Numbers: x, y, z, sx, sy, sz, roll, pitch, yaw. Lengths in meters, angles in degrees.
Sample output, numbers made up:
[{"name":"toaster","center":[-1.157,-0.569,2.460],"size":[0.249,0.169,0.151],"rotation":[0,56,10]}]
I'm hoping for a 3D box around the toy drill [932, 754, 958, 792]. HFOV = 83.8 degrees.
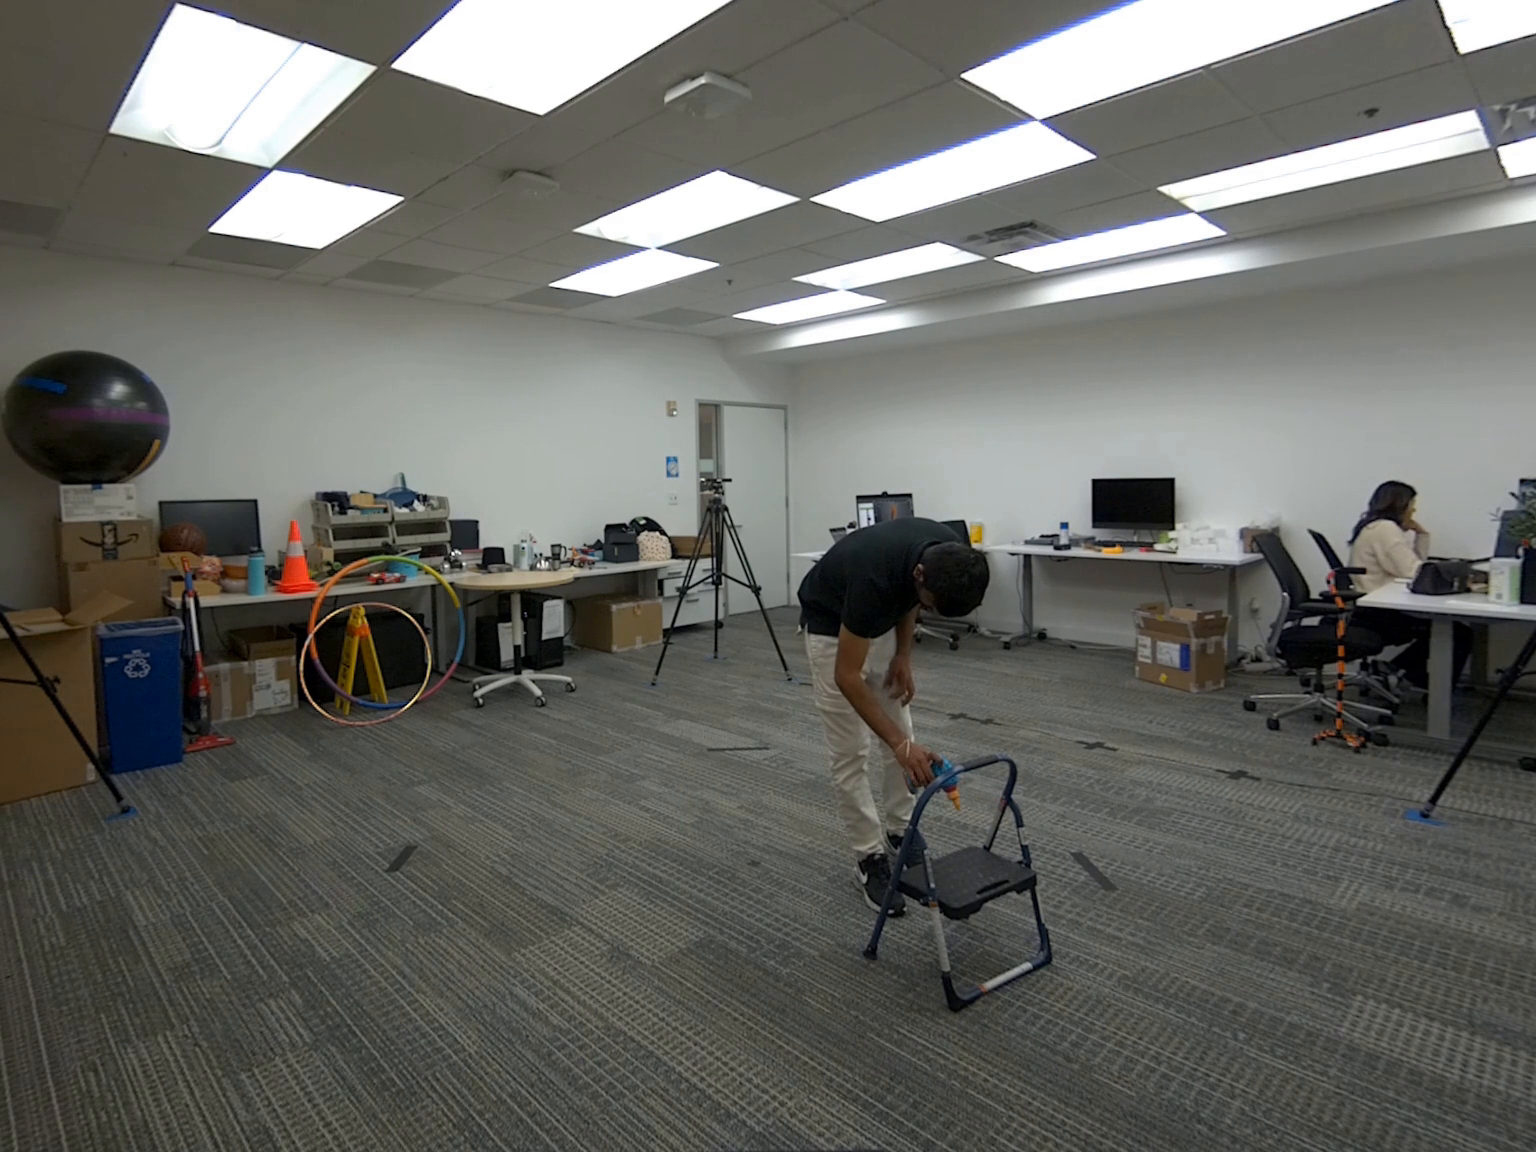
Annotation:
[{"name":"toy drill","center":[0.481,0.621,2.503],"size":[0.147,0.174,0.059],"rotation":[-28,-26,20]}]
